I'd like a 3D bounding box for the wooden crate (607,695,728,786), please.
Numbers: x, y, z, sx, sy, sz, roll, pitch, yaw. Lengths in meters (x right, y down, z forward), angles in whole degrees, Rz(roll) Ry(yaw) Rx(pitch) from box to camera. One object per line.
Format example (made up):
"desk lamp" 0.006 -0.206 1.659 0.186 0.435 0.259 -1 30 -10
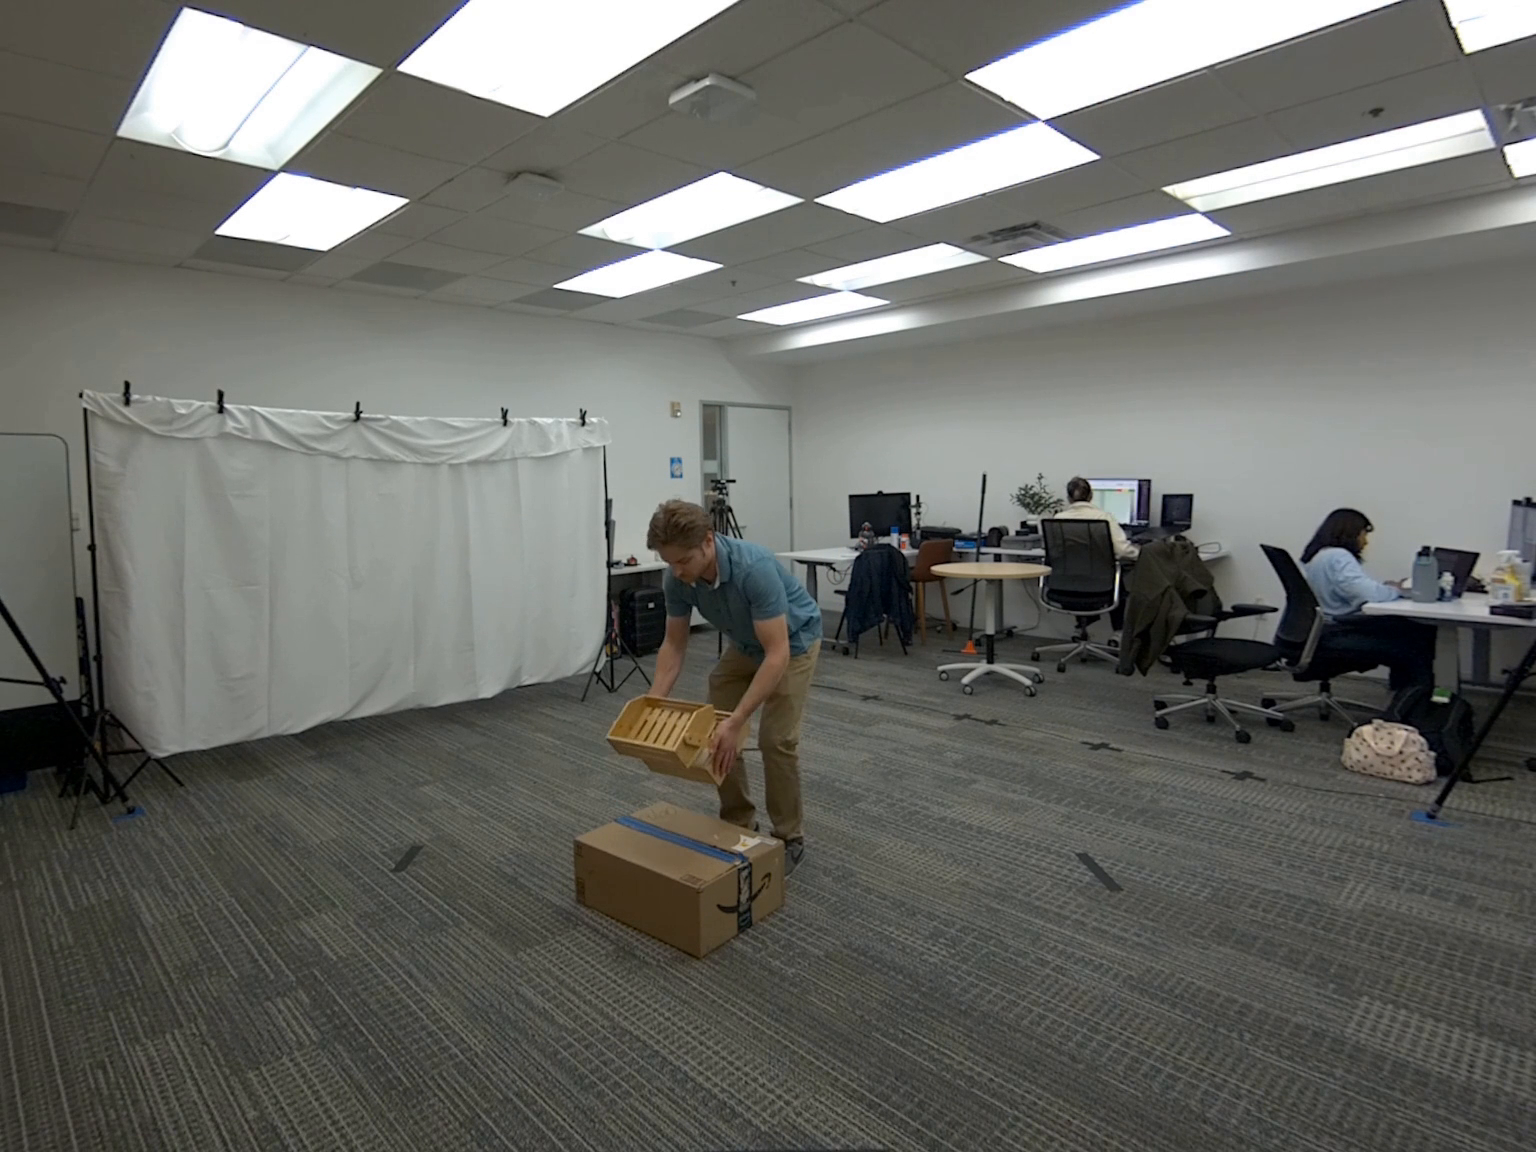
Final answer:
"wooden crate" -0.288 0.499 2.803 0.334 0.264 0.304 1 44 38
